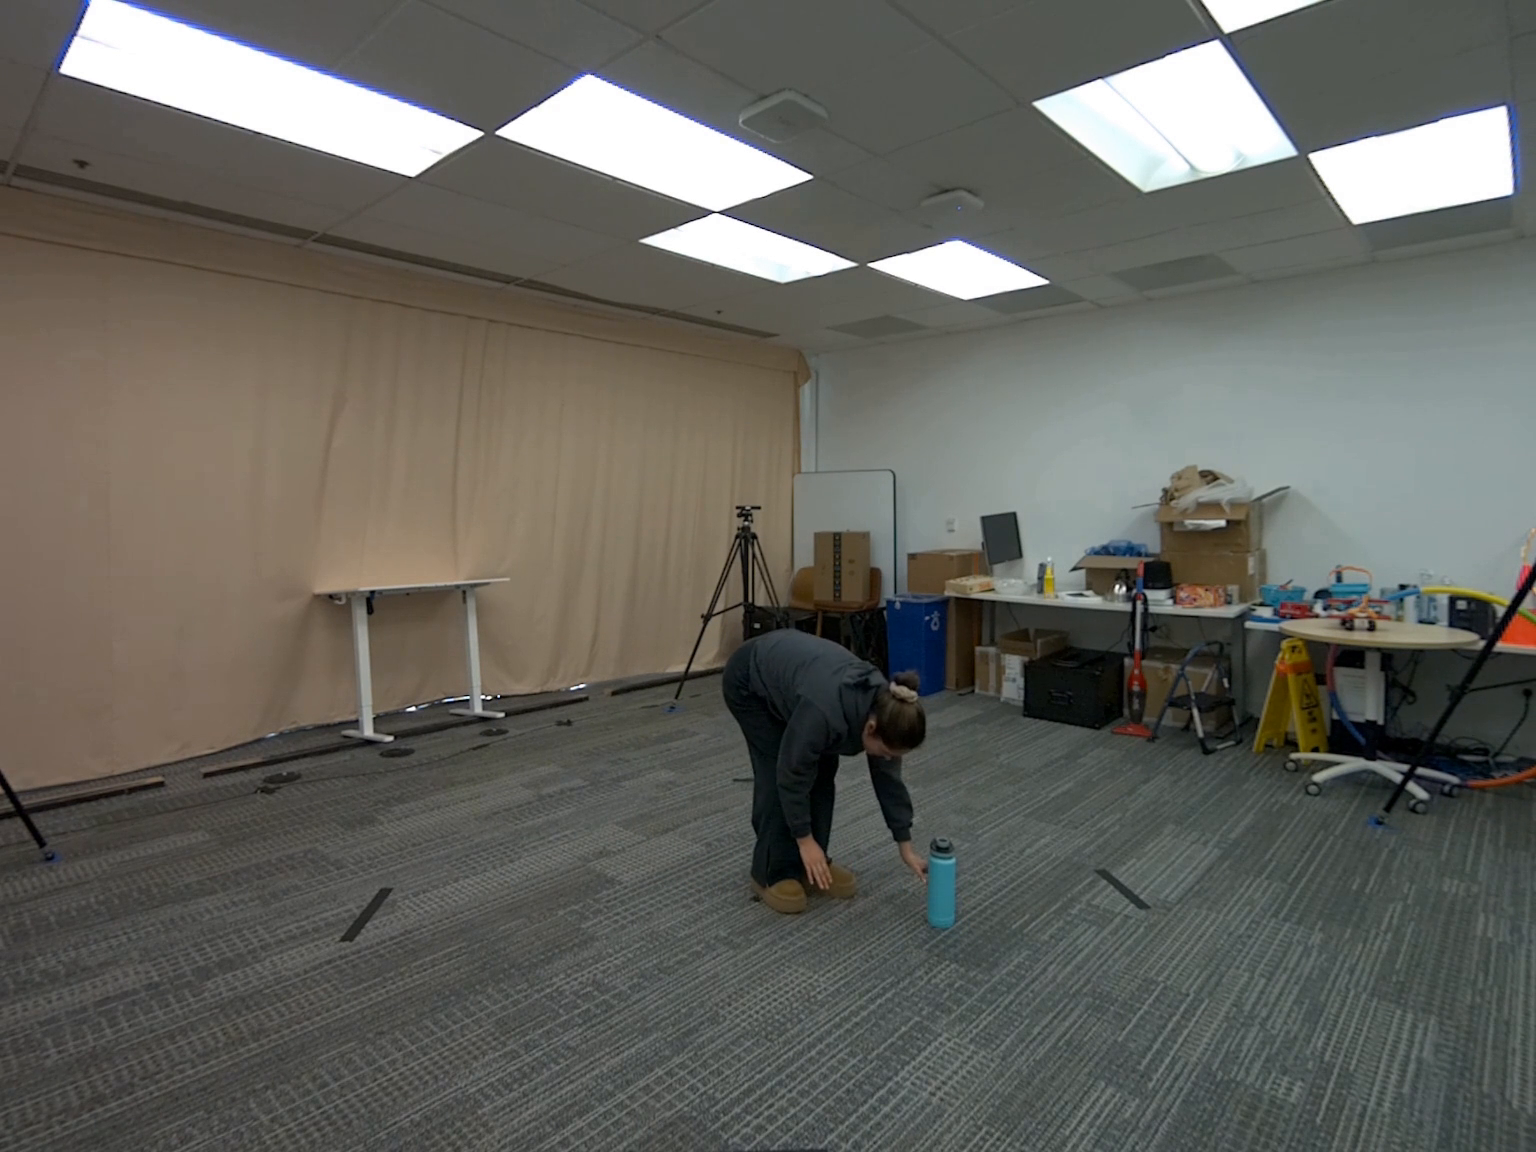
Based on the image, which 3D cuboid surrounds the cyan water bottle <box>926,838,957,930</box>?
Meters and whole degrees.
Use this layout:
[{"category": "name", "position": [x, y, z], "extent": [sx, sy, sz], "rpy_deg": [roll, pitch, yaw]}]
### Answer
[{"category": "cyan water bottle", "position": [0.601, 1.009, 2.794], "extent": [0.092, 0.283, 0.092], "rpy_deg": [-1, 2, -2]}]
